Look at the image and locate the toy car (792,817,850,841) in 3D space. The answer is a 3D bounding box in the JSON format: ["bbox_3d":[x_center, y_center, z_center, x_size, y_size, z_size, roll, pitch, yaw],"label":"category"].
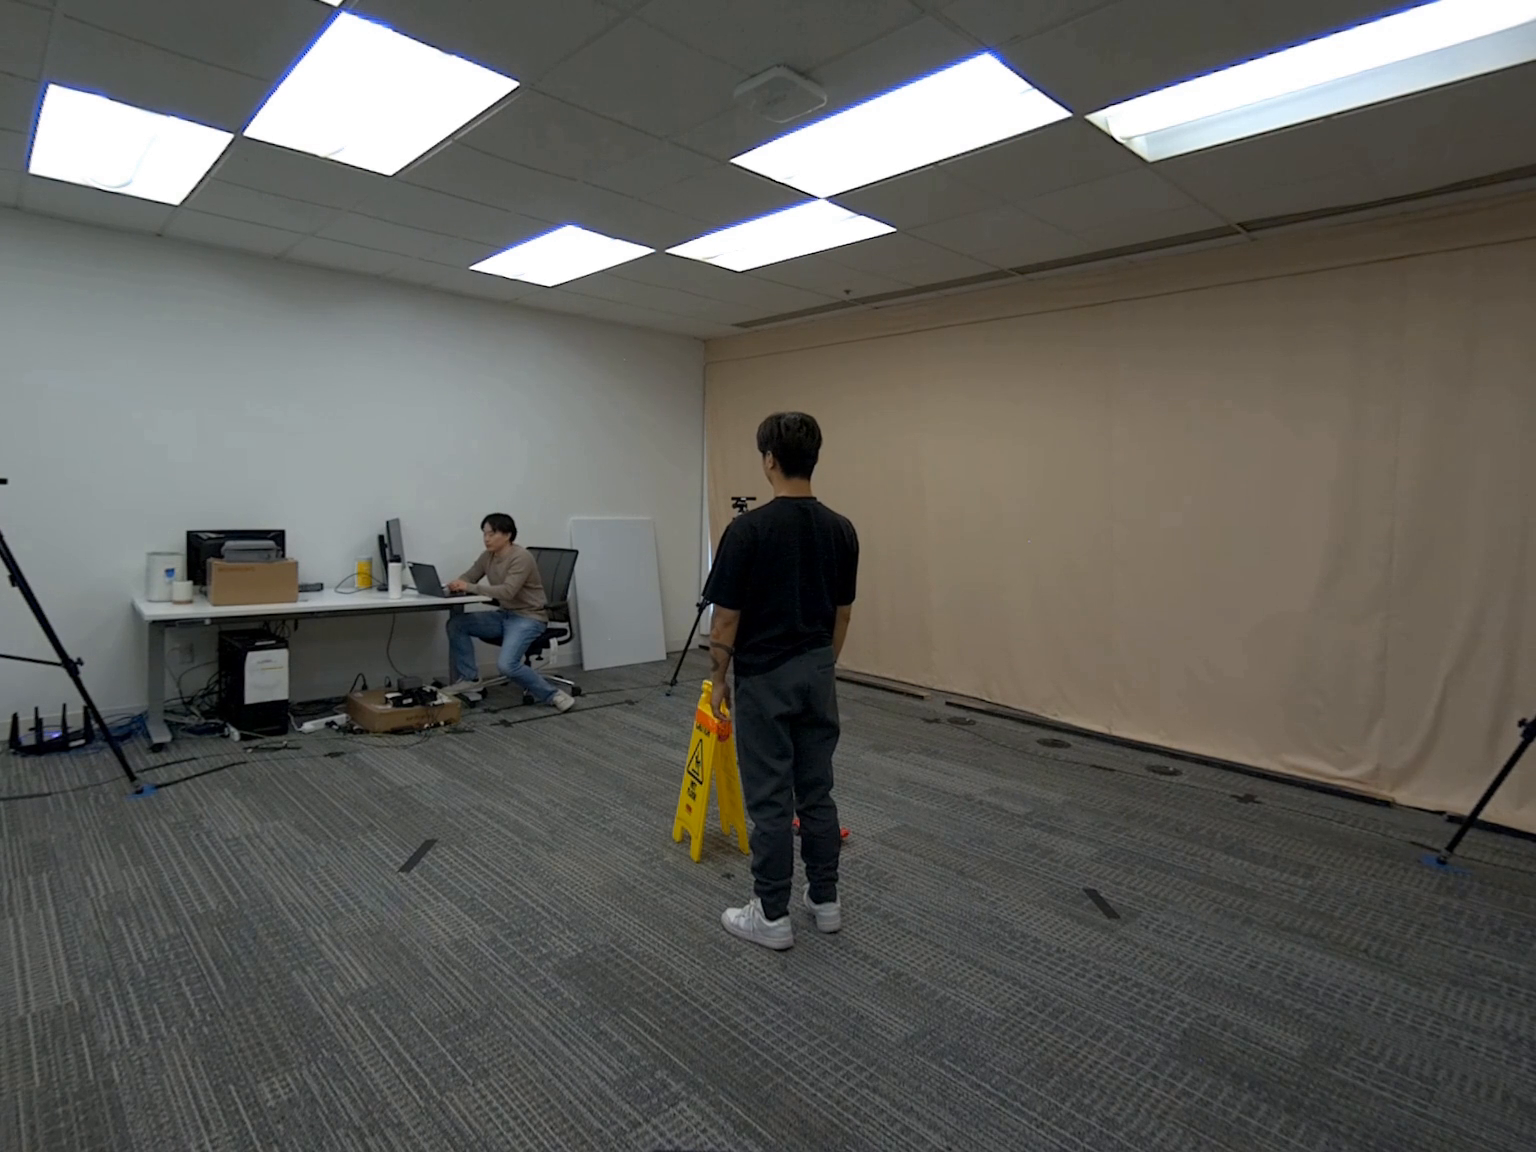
[{"bbox_3d":[0.220,1.056,3.473,0.259,0.083,0.127,-10,-6,43],"label":"toy car"}]
